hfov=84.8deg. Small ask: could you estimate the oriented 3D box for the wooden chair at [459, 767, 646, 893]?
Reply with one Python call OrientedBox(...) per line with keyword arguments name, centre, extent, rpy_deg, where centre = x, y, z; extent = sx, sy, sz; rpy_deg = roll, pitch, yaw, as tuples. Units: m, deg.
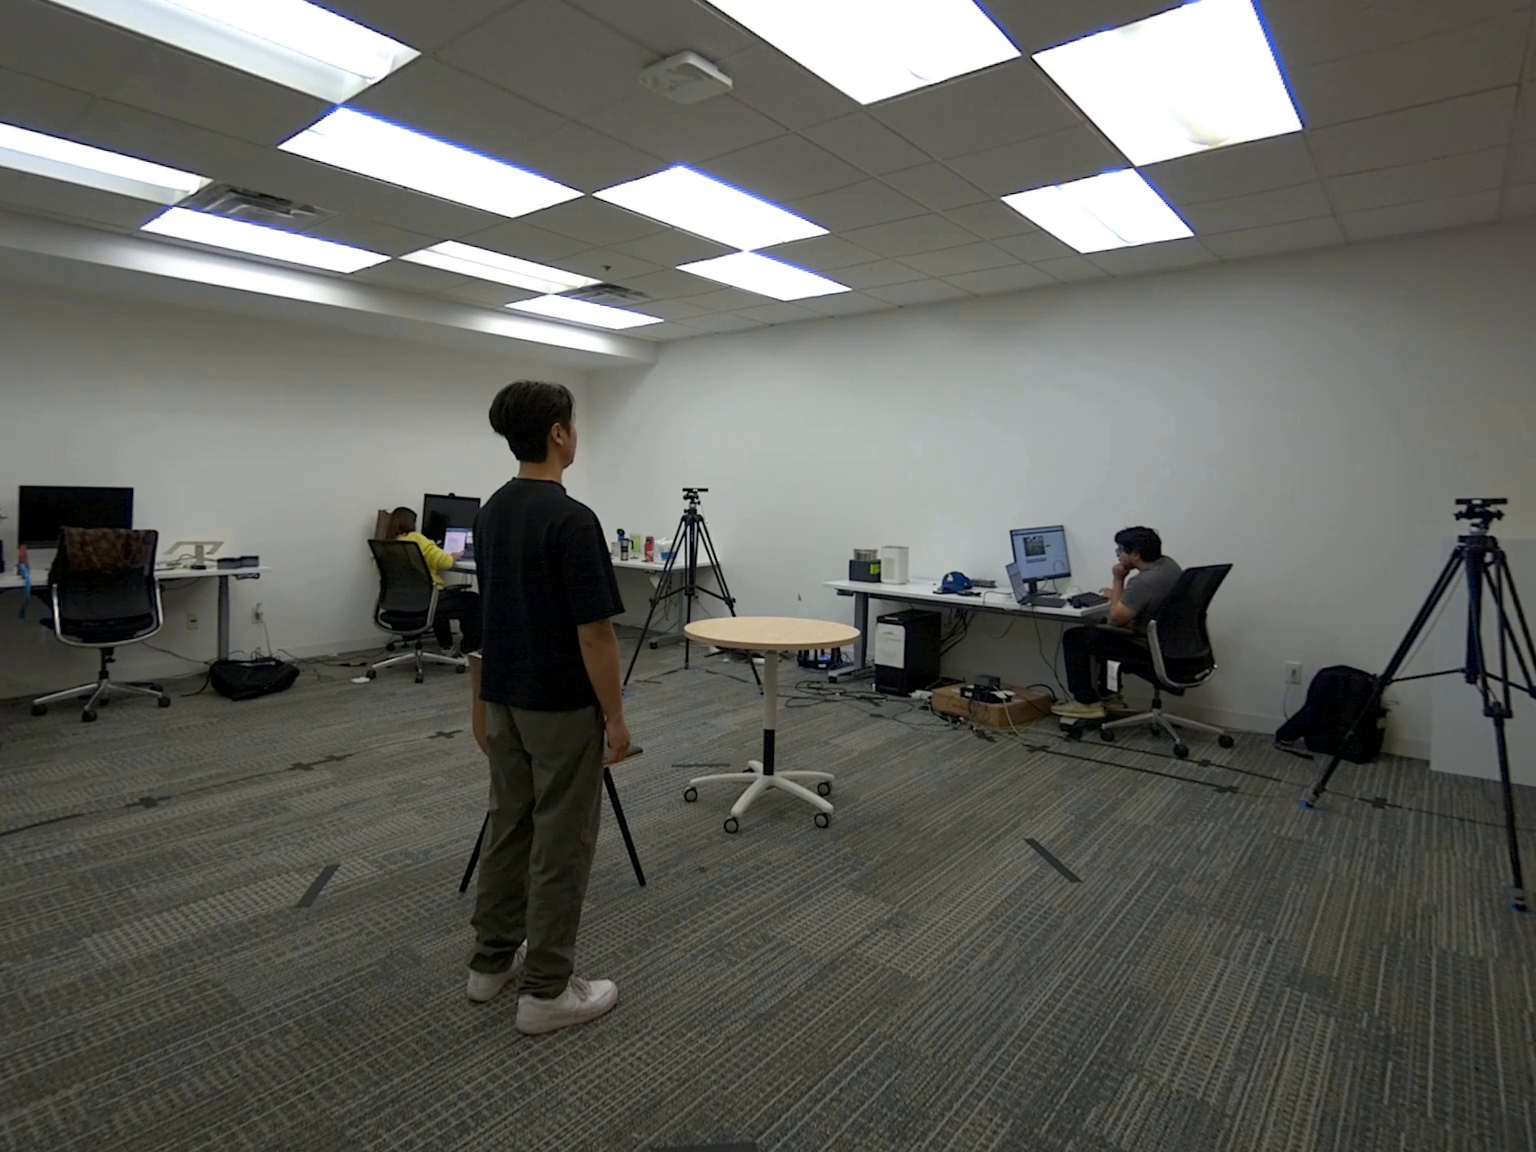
OrientedBox(name="wooden chair", centre=(-0.737, 0.649, 2.915), extent=(0.494, 0.872, 0.510), rpy_deg=(3, 8, 37))
